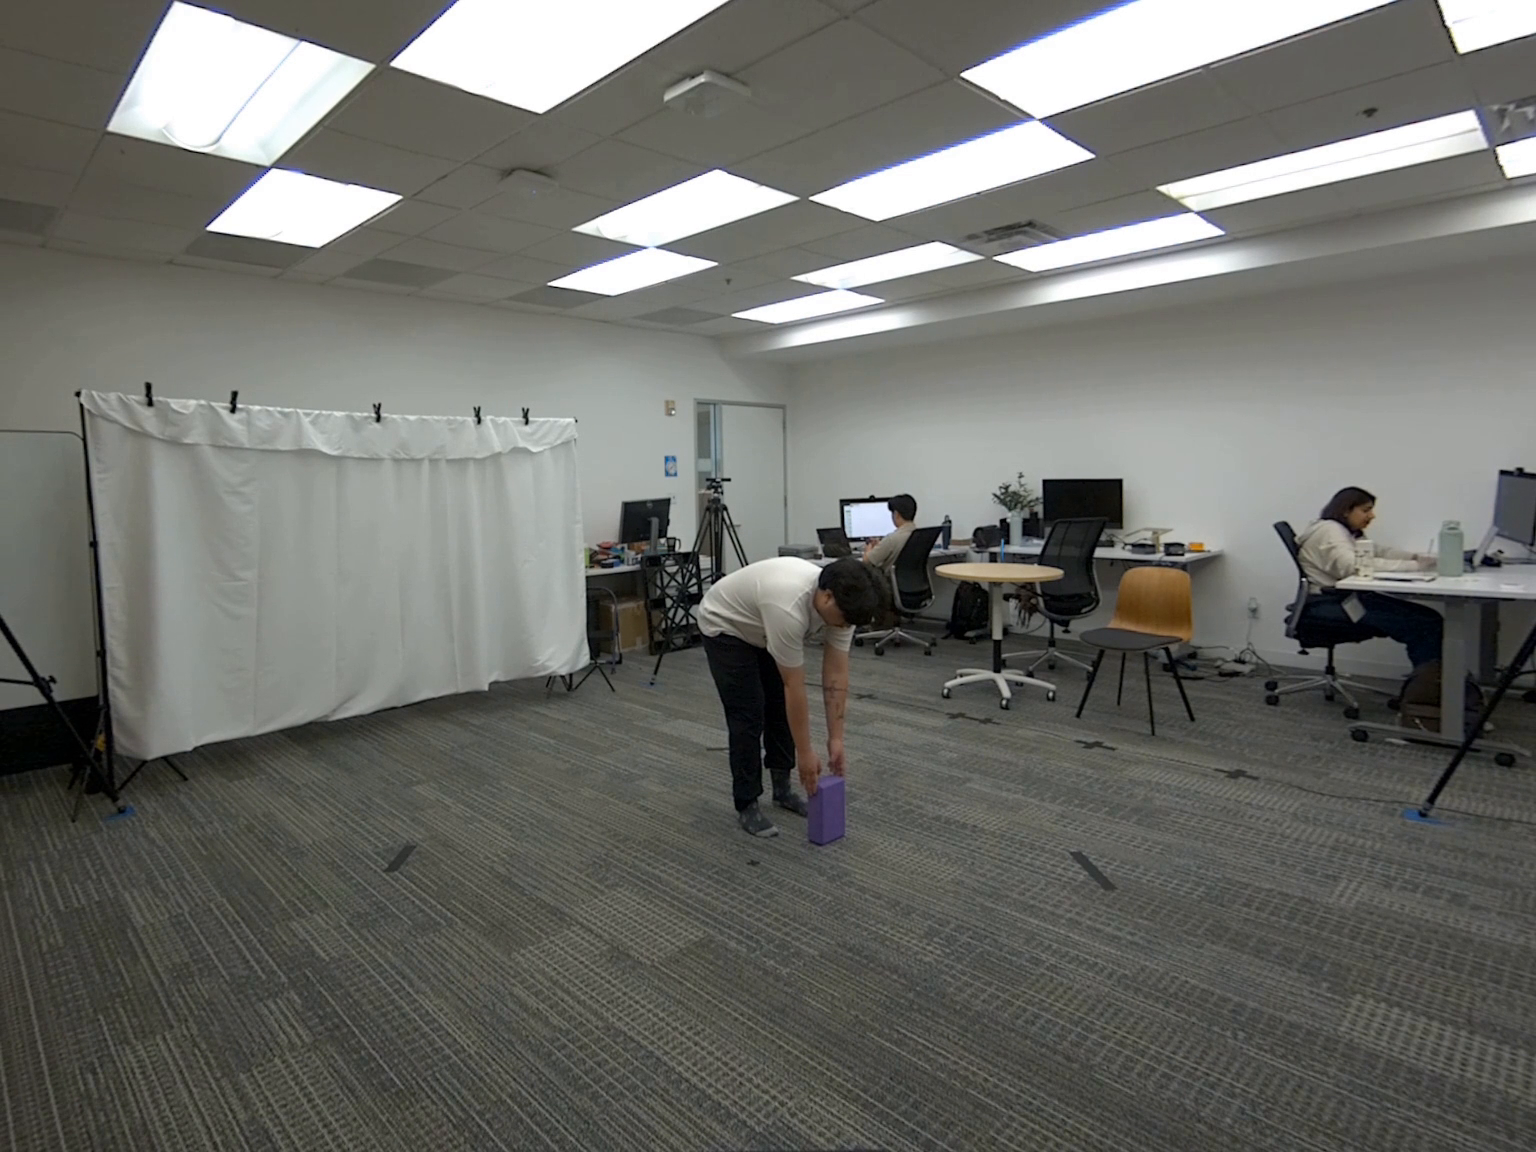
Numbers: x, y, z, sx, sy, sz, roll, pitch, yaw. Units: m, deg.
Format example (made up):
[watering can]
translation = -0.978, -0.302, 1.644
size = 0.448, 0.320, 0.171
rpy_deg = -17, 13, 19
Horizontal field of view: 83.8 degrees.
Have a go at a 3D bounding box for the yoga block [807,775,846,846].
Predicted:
[yoga block]
translation = 0.230, 0.905, 3.306
size = 0.078, 0.229, 0.145
rpy_deg = 0, 1, 44
